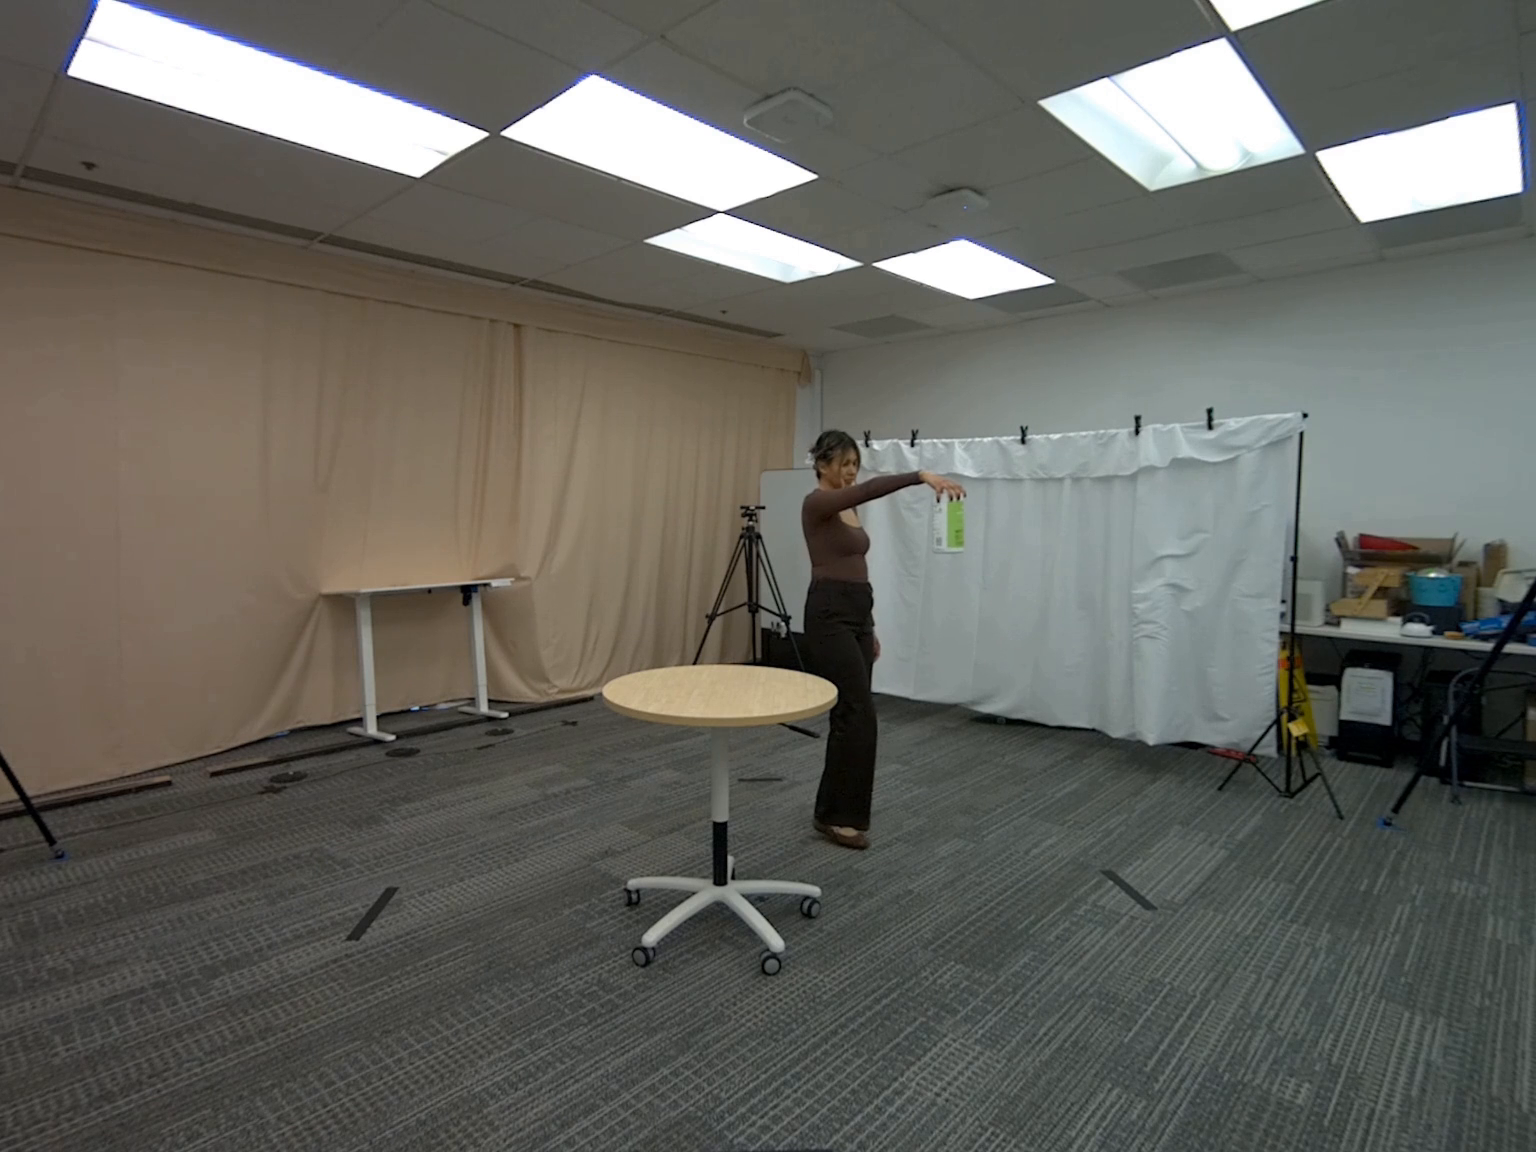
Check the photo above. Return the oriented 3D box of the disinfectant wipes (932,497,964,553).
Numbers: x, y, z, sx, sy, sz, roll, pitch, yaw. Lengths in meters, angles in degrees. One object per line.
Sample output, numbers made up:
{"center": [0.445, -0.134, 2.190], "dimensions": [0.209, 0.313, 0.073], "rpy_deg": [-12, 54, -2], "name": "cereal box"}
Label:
{"center": [0.656, -0.189, 3.039], "dimensions": [0.118, 0.217, 0.118], "rpy_deg": [-1, 2, -2], "name": "disinfectant wipes"}
